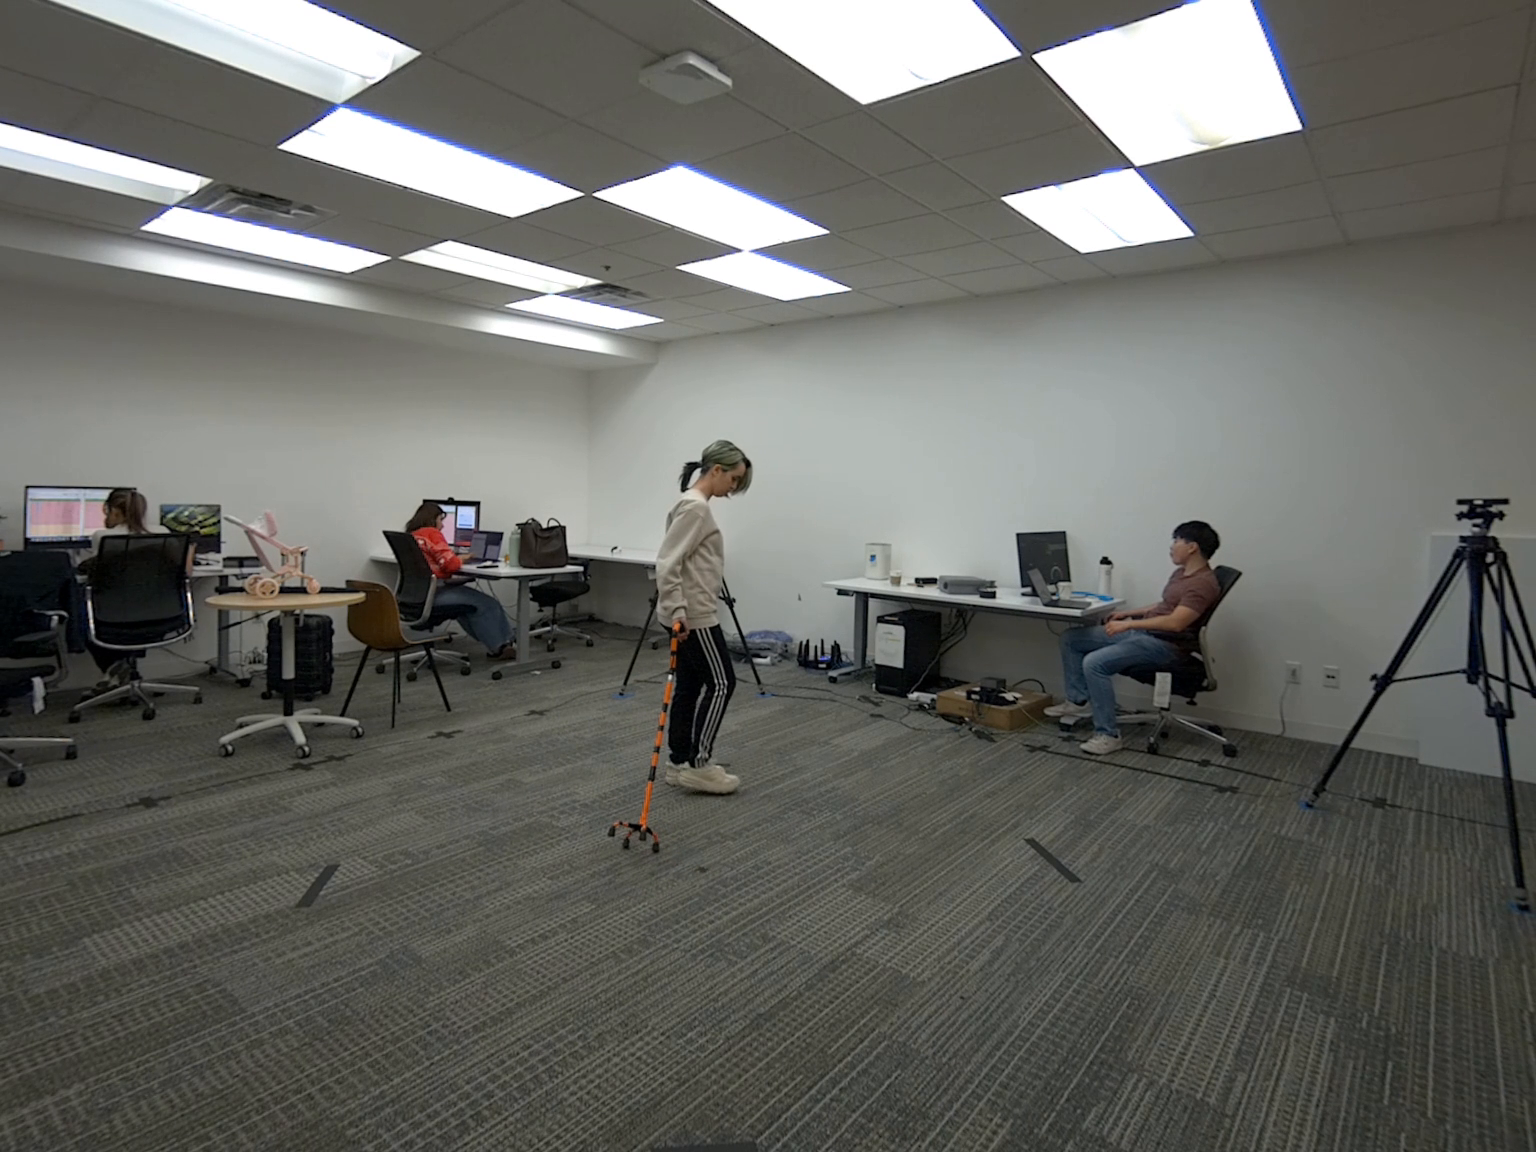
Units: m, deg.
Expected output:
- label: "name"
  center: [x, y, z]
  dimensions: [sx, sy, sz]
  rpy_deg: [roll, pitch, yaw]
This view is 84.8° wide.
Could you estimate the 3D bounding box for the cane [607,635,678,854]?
- label: "cane"
  center: [-0.456, 0.605, 3.405]
  dimensions: [0.154, 0.926, 0.199]
  rpy_deg: [0, -29, 14]
